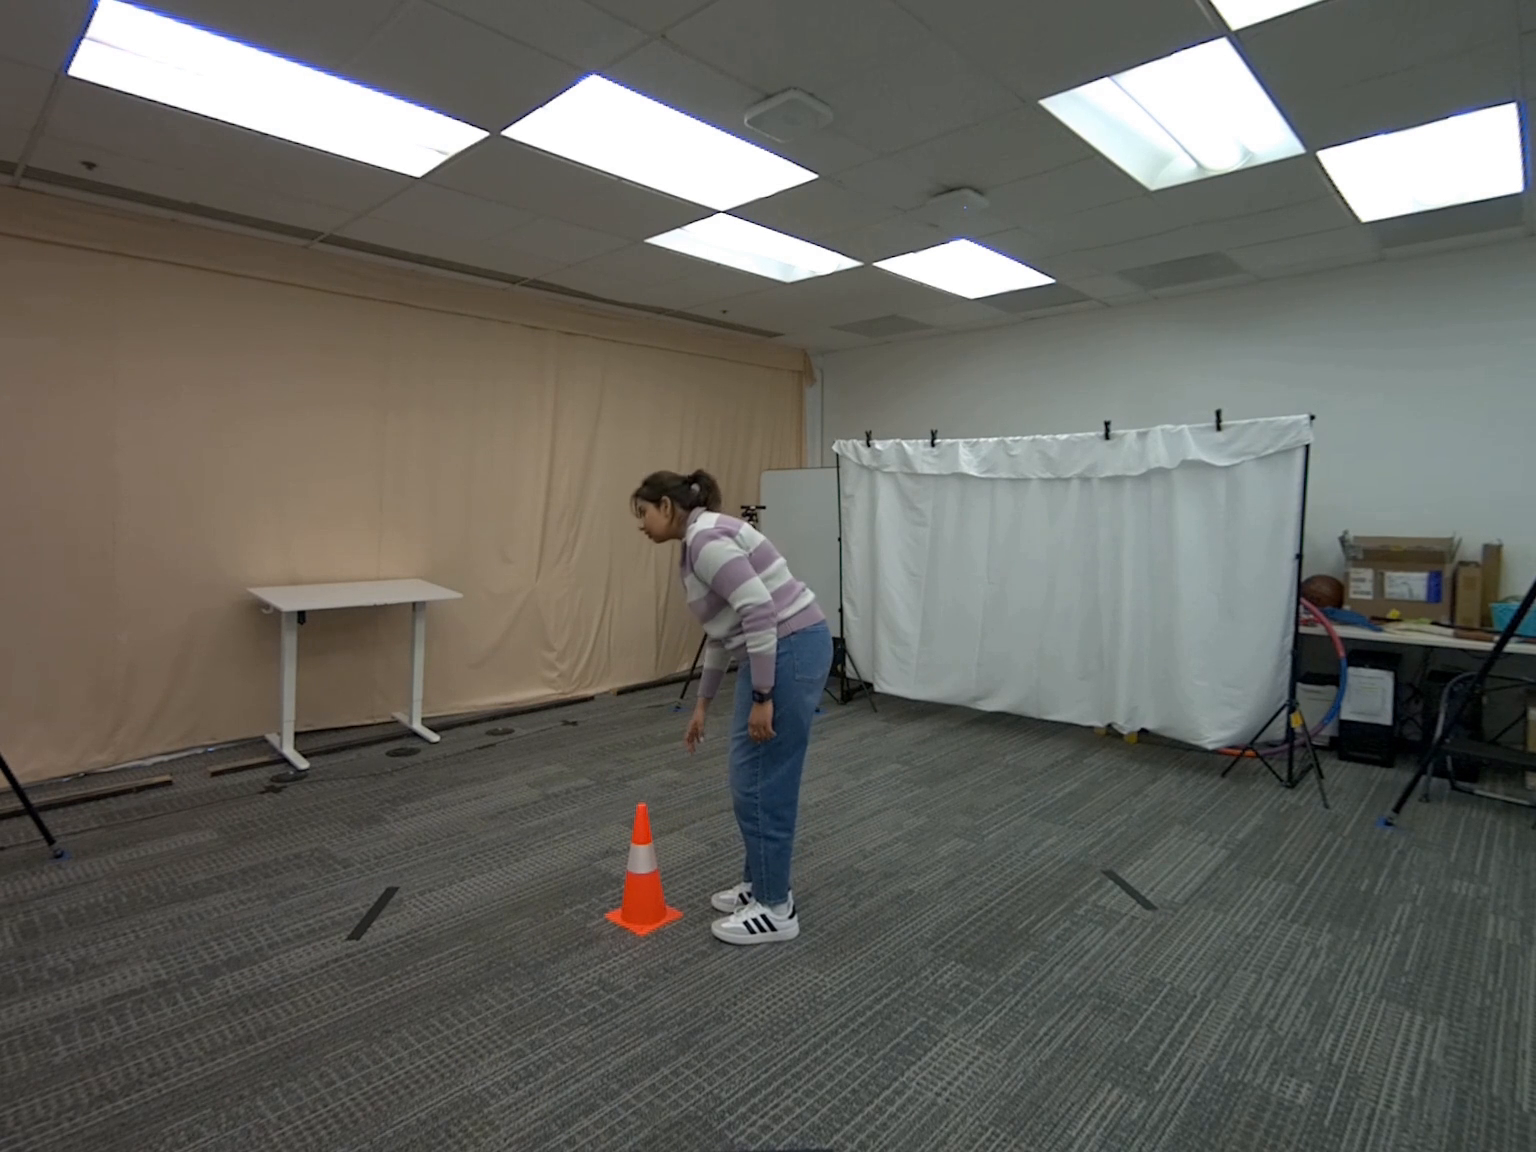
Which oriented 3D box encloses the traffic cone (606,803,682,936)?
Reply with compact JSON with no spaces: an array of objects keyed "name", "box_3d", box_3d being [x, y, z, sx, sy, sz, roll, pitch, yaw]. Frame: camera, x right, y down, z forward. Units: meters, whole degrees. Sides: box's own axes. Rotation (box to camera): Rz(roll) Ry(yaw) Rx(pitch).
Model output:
[{"name":"traffic cone","box_3d":[-0.421,0.975,2.859,0.210,0.383,0.199,2,4,40]}]
